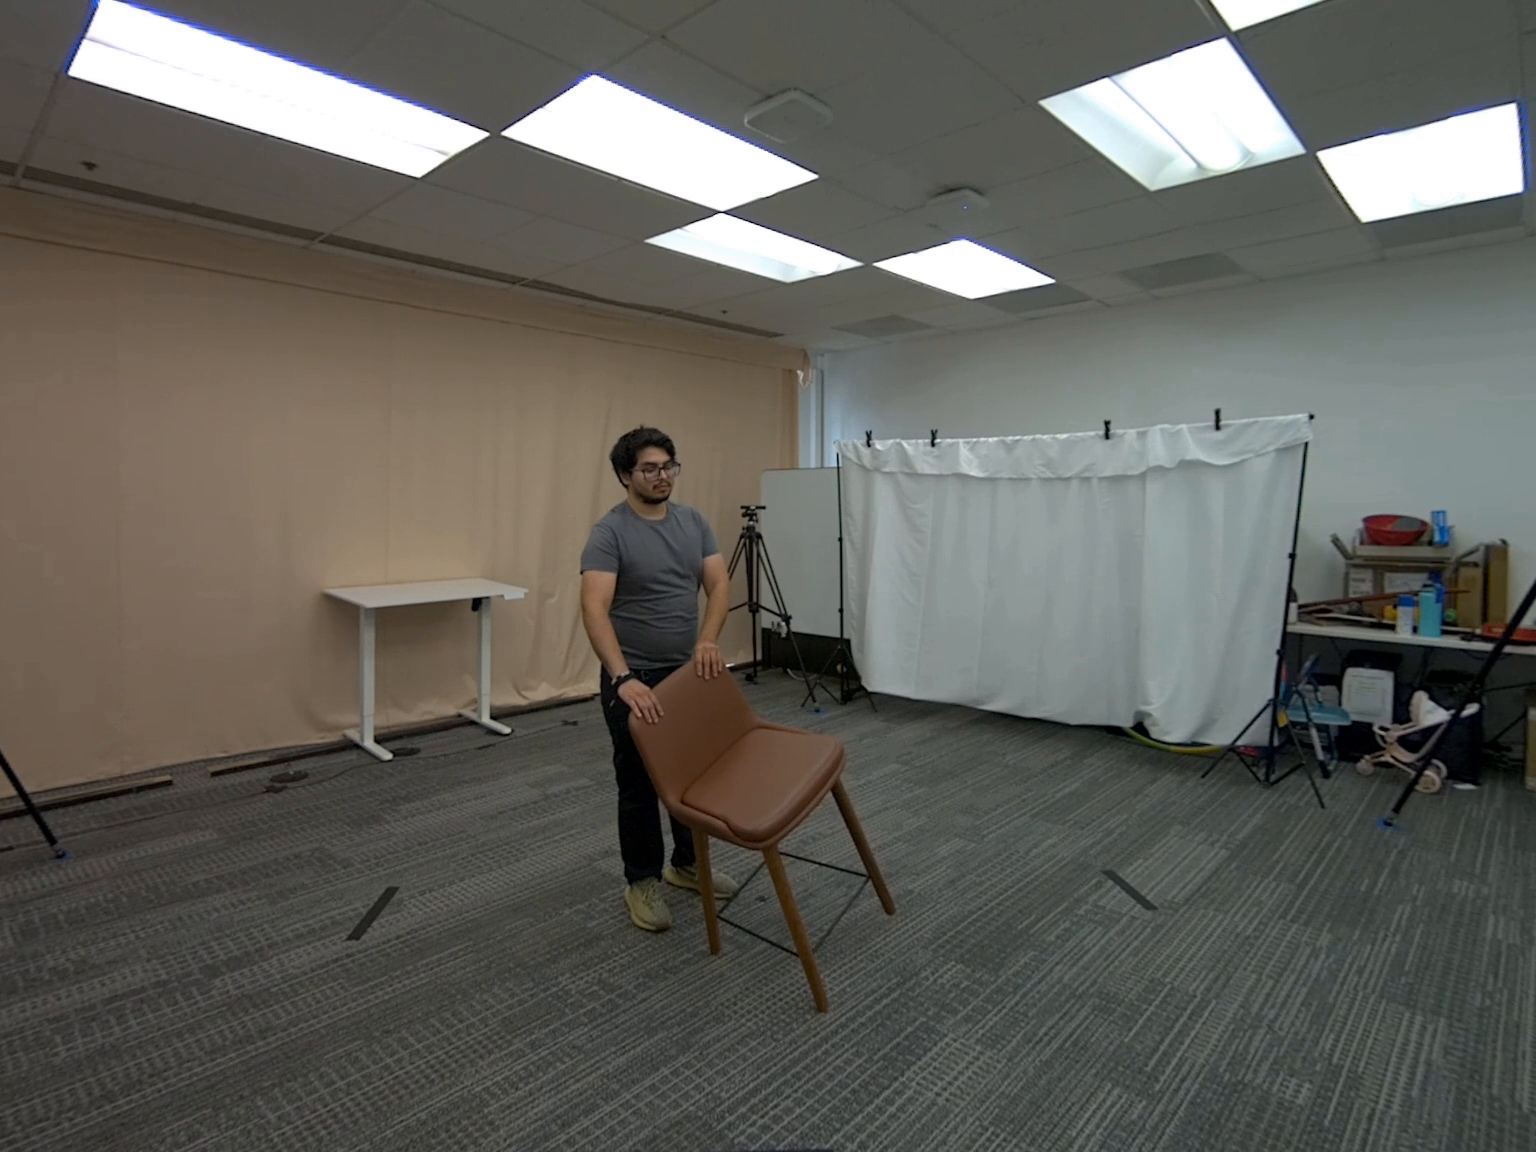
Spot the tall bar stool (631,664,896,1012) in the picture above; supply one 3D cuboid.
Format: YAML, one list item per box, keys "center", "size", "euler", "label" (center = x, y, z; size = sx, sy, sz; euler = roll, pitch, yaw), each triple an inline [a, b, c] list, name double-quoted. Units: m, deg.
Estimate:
- center: [-0.008, 0.714, 2.464]
  size: [0.482, 0.876, 0.449]
  euler: [-1, 23, 42]
  label: "tall bar stool"
